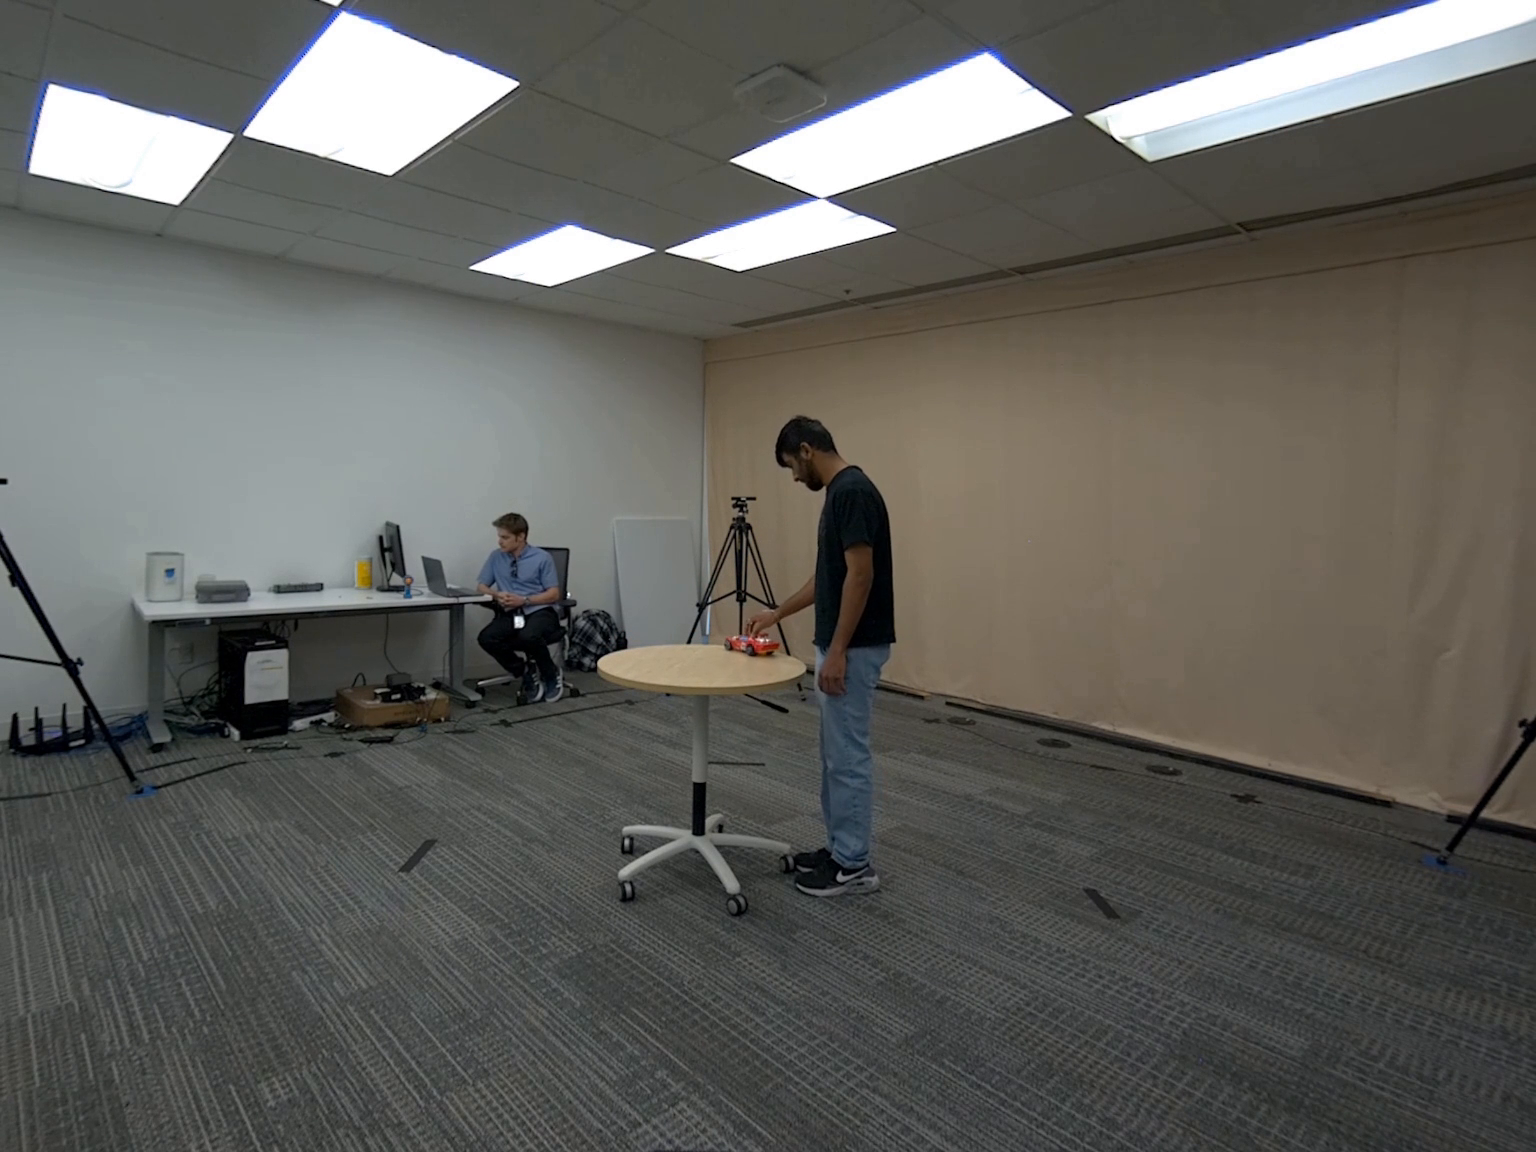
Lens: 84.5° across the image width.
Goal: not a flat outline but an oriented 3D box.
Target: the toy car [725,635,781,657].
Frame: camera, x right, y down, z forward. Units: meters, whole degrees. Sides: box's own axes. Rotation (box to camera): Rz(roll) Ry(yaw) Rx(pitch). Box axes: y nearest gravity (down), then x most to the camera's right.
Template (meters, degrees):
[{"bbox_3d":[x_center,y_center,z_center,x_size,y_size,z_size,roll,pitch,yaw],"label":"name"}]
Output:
[{"bbox_3d":[-0.066,0.276,3.328,0.127,0.083,0.259,-3,-3,-39],"label":"toy car"}]
